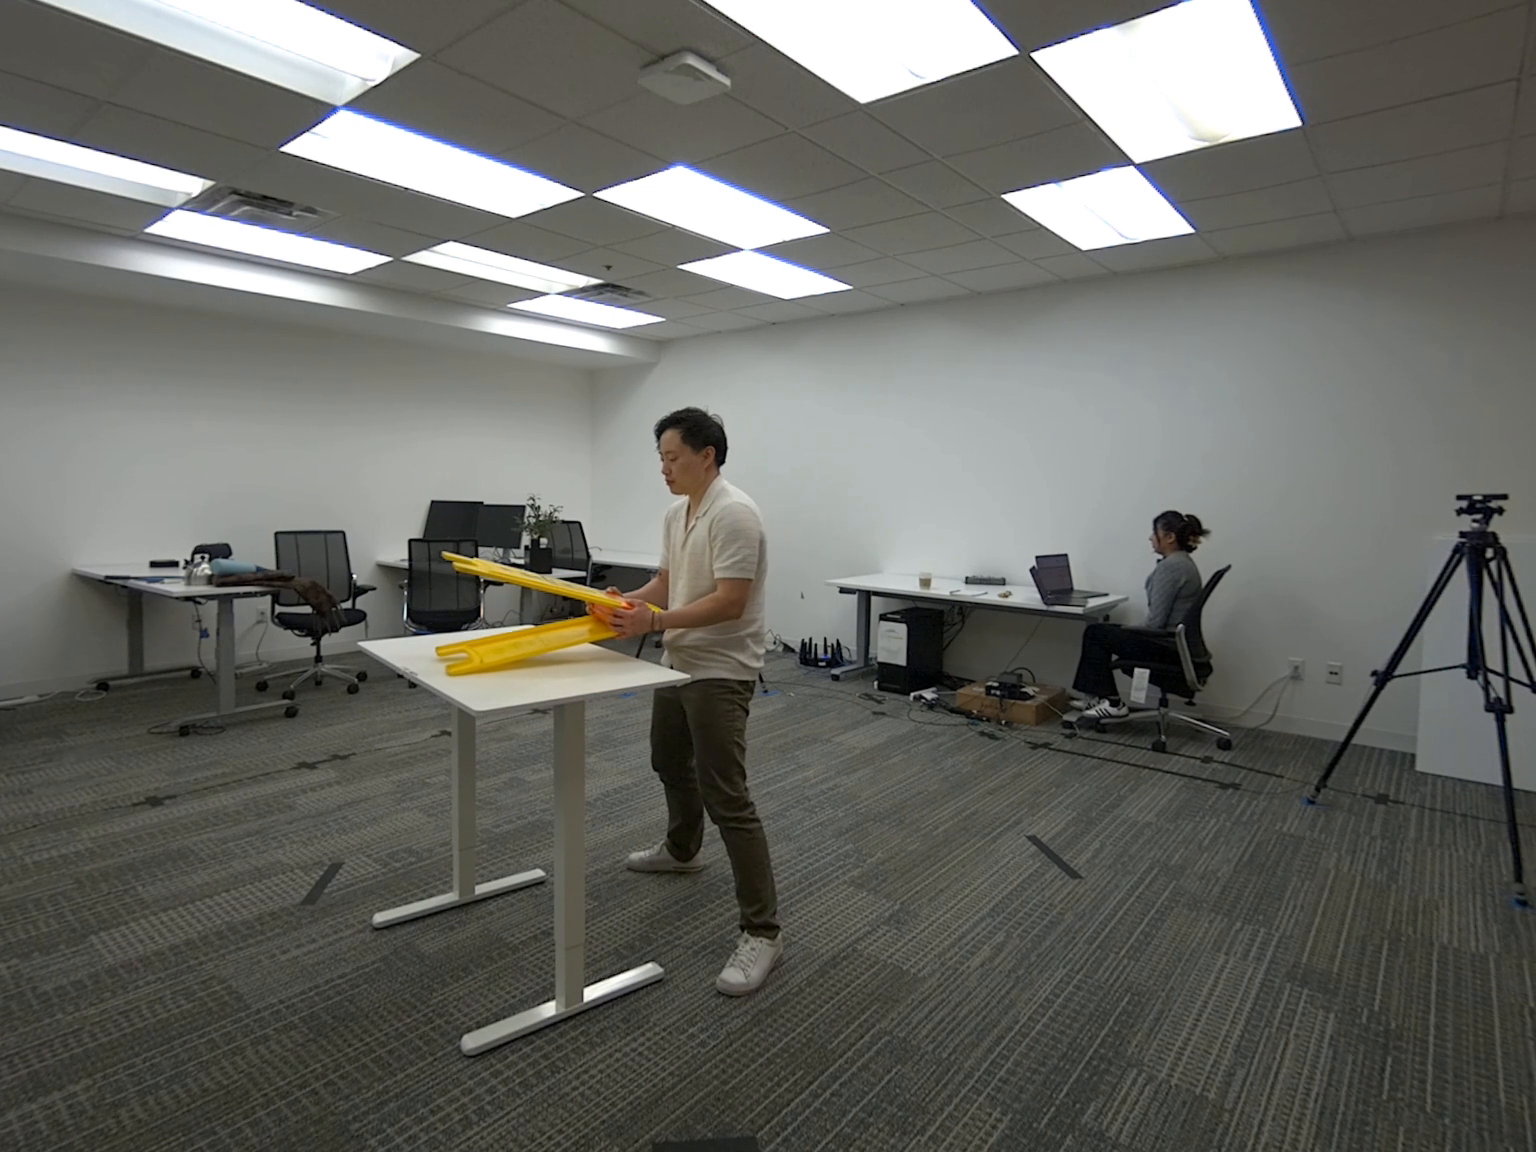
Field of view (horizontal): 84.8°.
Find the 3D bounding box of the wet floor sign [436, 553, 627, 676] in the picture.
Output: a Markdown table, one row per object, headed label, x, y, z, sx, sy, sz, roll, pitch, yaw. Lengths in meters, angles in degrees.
| label | x | y | z | sx | sy | sz | roll | pitch | yaw |
| --- | --- | --- | --- | --- | --- | --- | --- | --- | --- |
| wet floor sign | -0.631 | 0.099 | 2.522 | 0.629 | 0.288 | 0.291 | 1 | 7 | -27 |
